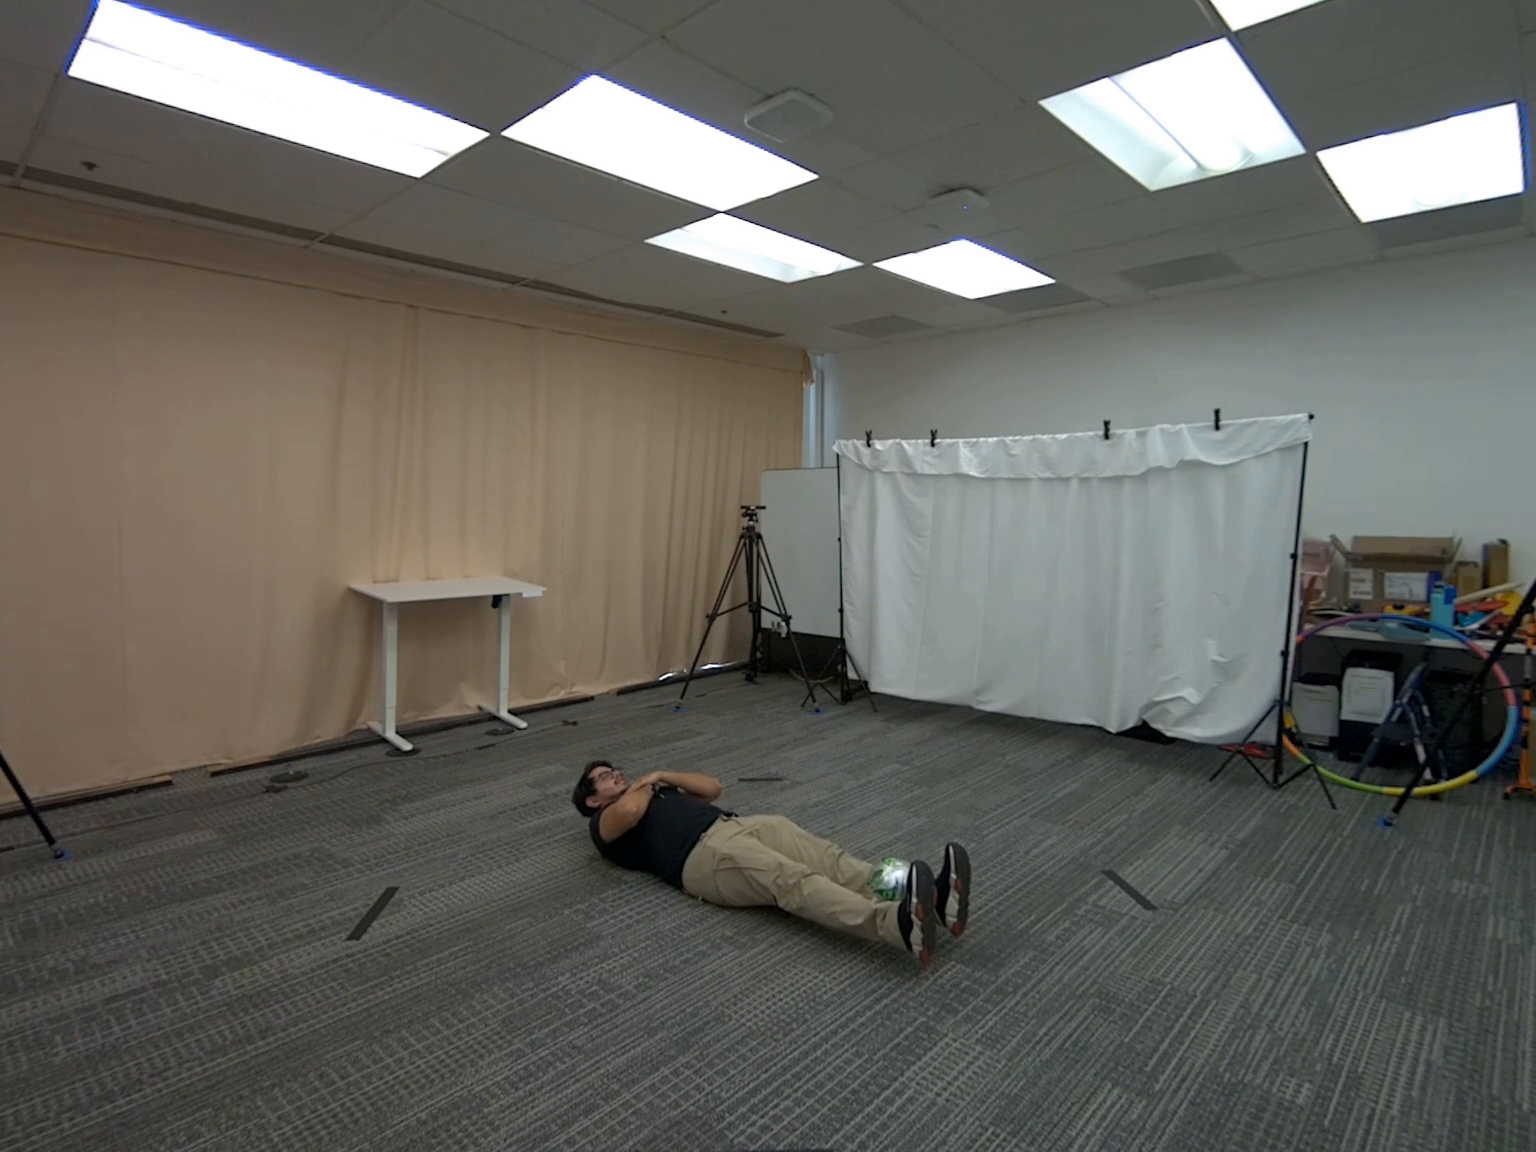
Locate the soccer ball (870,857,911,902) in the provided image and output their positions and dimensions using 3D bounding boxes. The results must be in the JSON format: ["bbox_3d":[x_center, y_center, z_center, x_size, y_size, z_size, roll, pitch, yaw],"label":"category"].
[{"bbox_3d":[0.410,0.991,2.648,0.187,0.187,0.188,0,4,-2],"label":"soccer ball"}]
